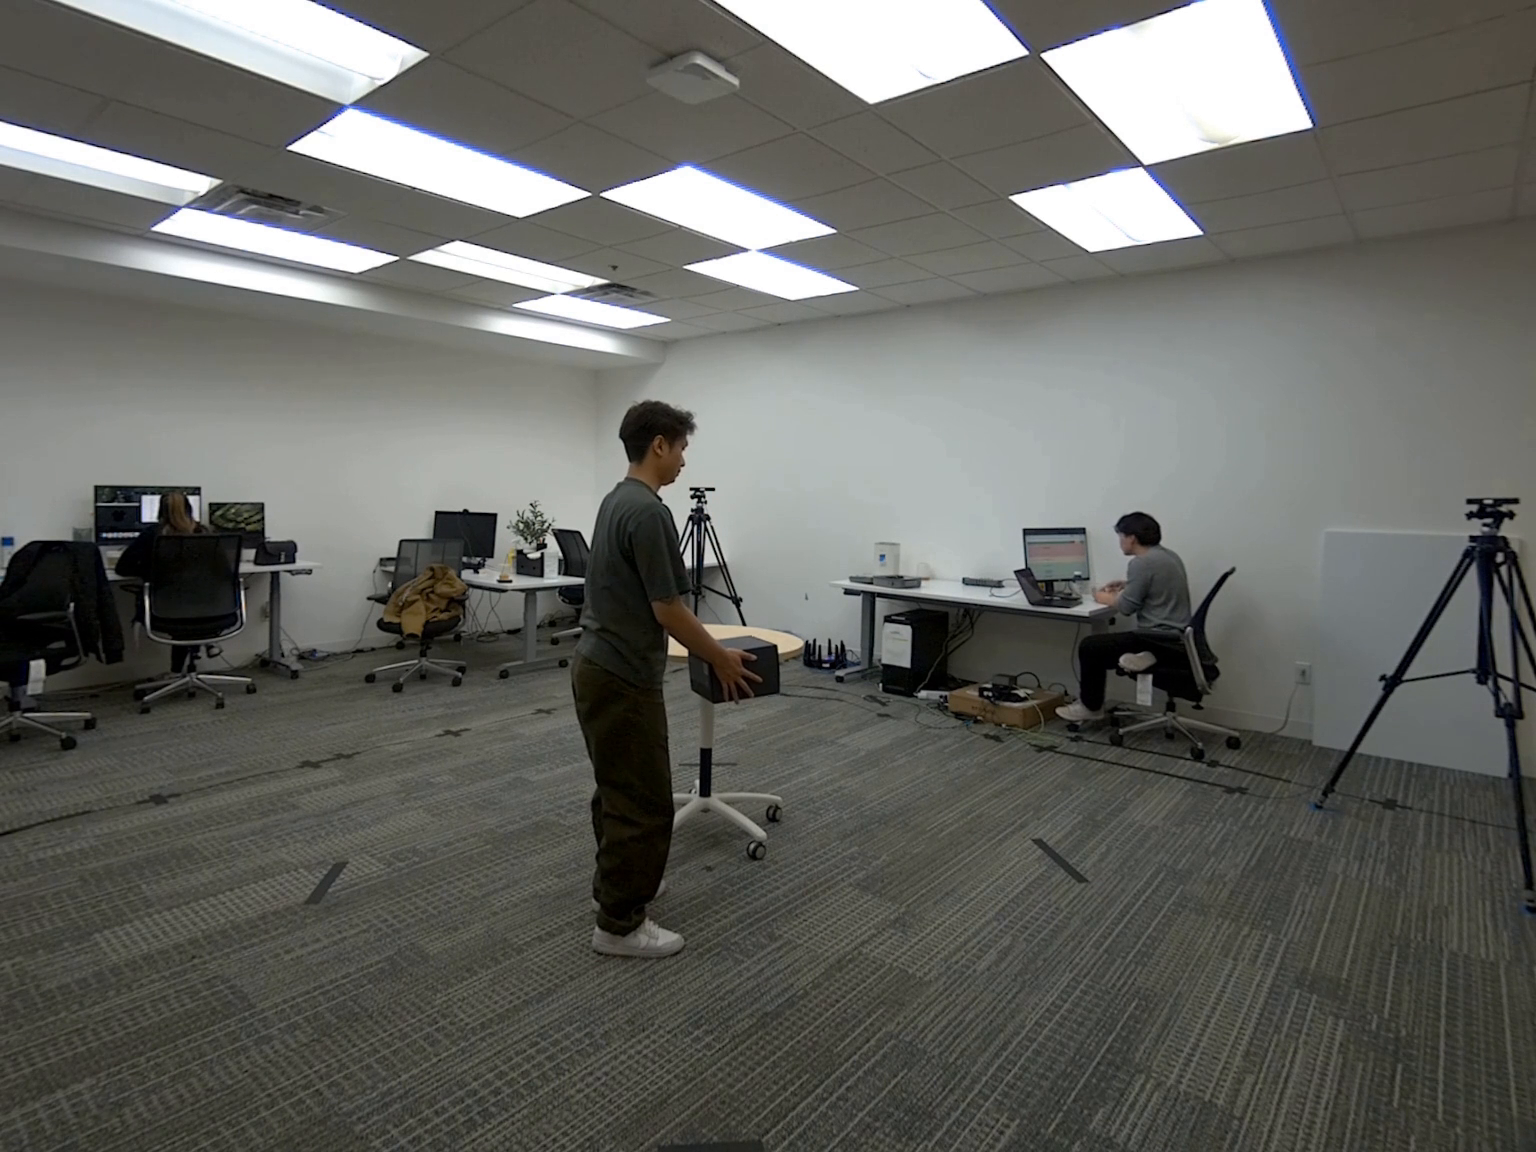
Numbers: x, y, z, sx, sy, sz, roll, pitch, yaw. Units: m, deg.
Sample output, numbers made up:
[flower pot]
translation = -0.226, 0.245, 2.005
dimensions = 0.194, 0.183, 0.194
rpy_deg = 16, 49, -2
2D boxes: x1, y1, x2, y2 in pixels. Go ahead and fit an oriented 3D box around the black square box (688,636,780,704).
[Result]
[black square box]
translation = -0.128, 0.297, 2.724
dimensions = 0.224, 0.155, 0.221
rpy_deg = -7, 6, -17
